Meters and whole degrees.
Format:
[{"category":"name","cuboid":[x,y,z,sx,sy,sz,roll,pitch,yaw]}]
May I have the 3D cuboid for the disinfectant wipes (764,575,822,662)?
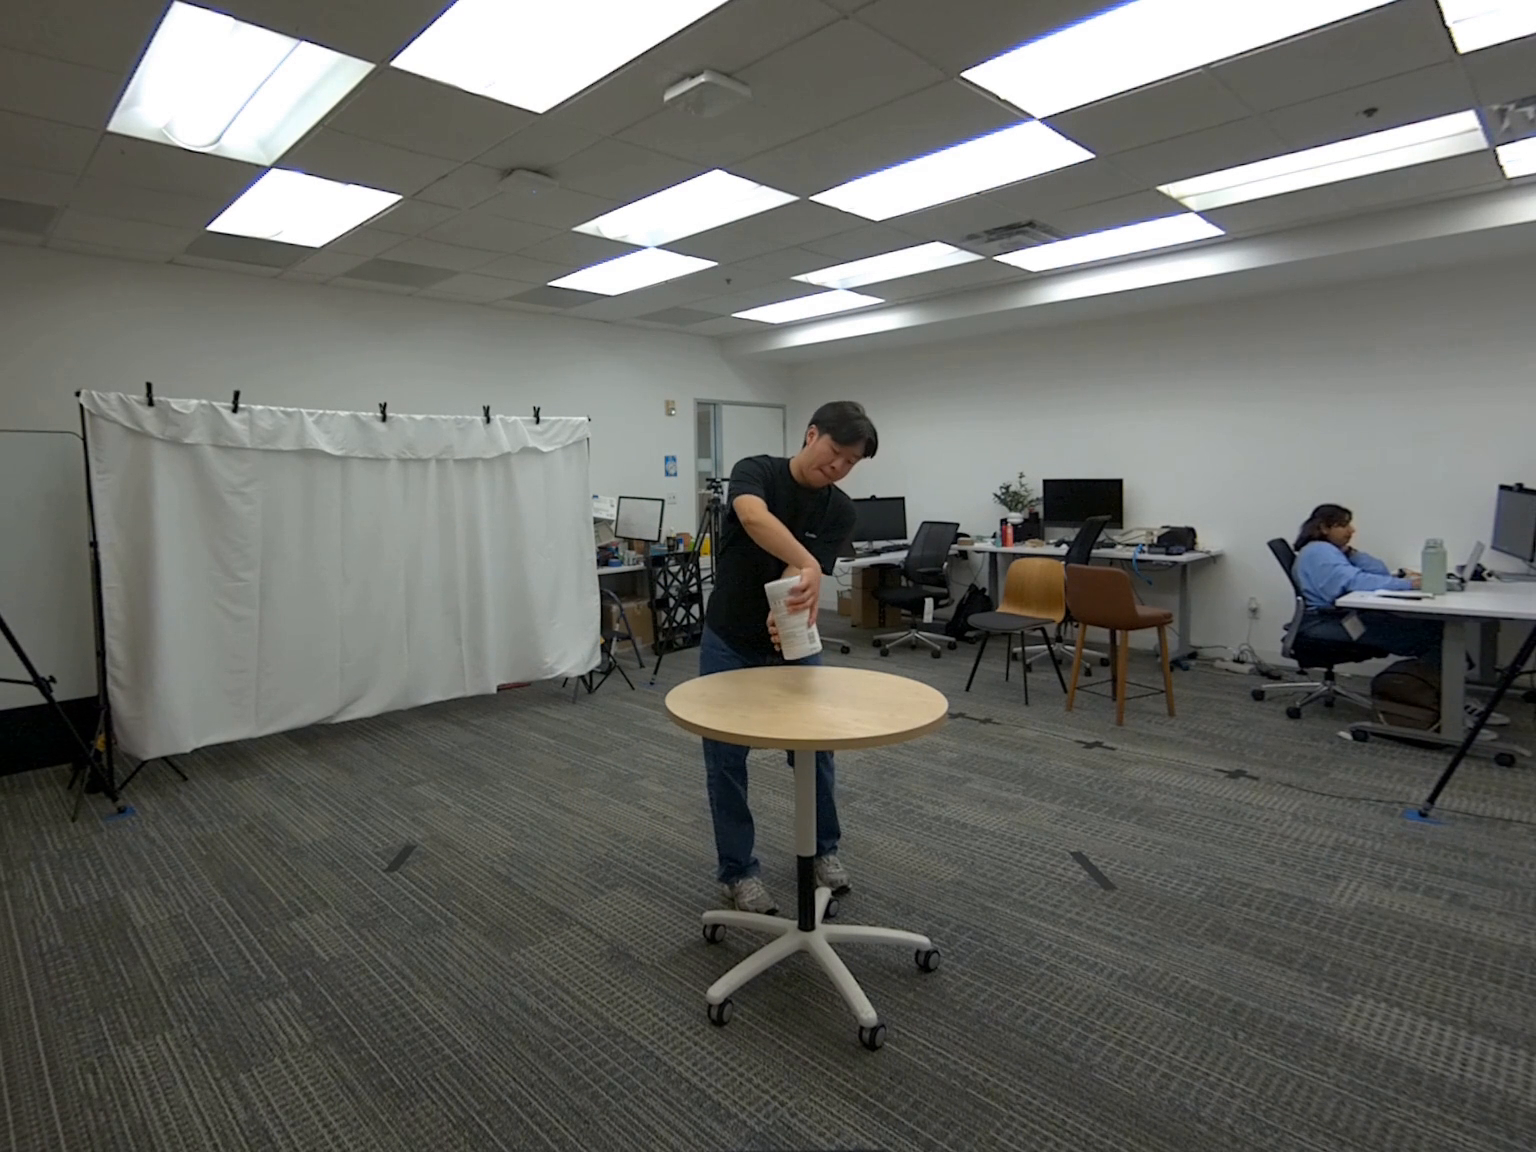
[{"category":"disinfectant wipes","cuboid":[0.070,0.113,2.353,0.118,0.218,0.118,-14,-1,-2]}]
